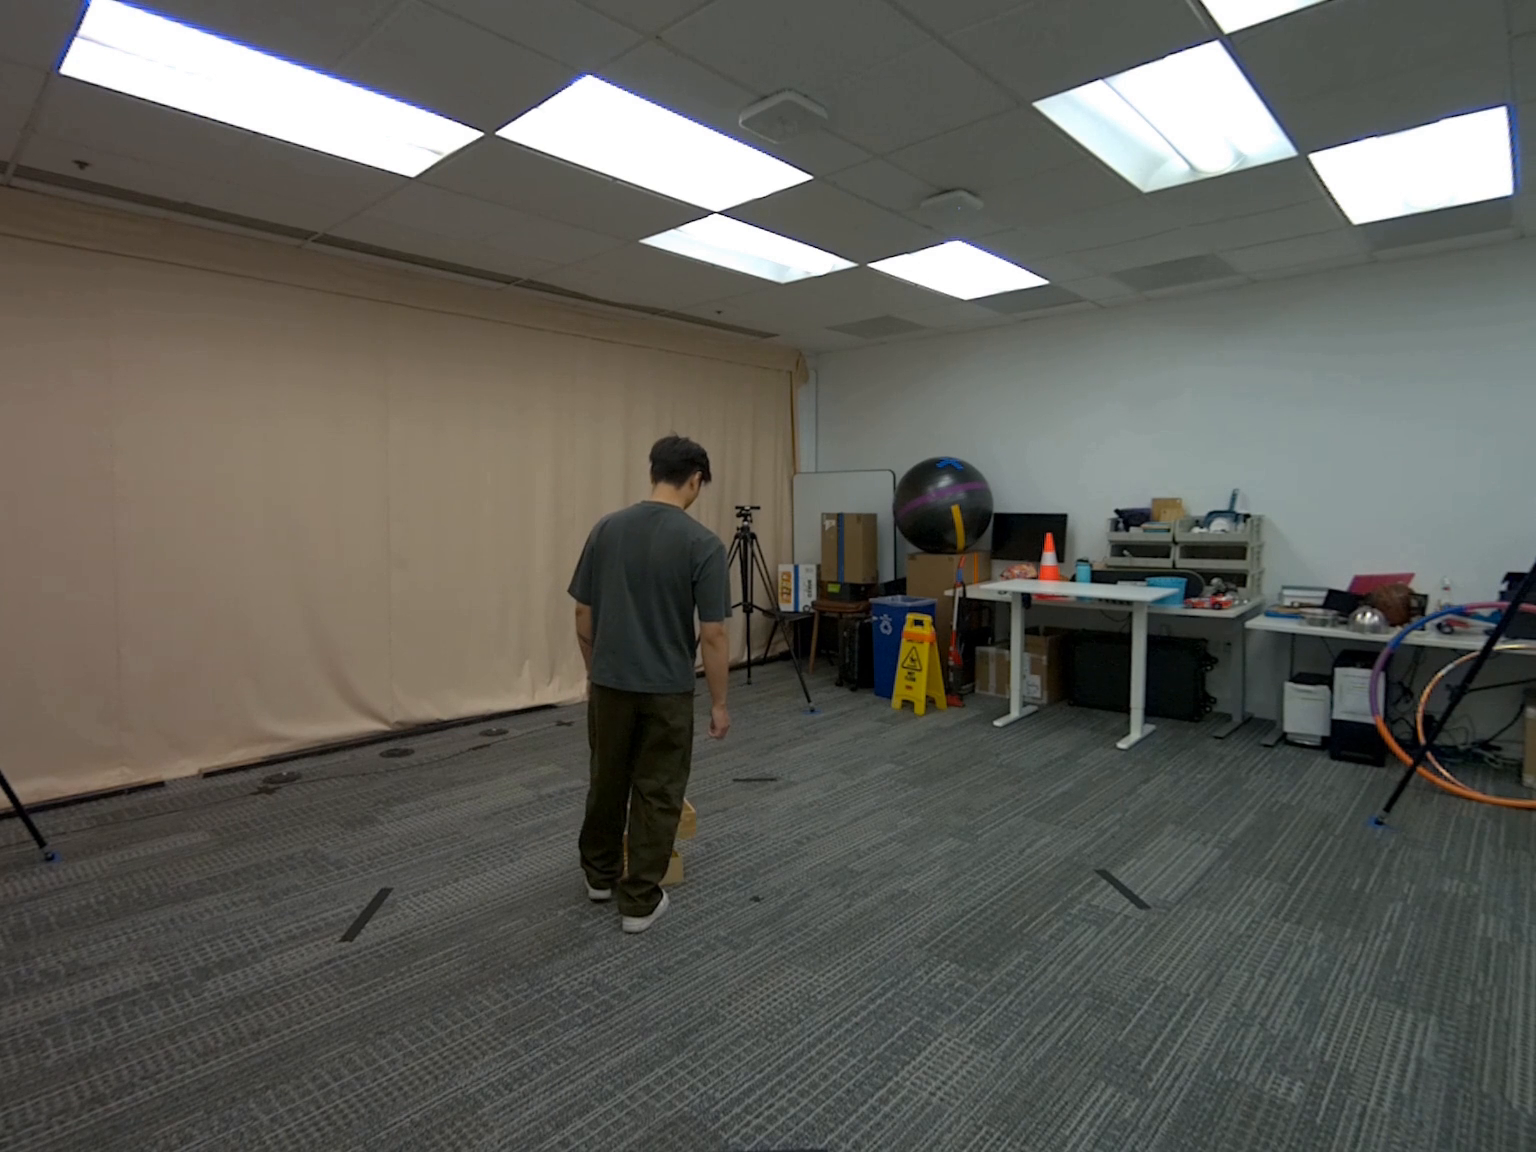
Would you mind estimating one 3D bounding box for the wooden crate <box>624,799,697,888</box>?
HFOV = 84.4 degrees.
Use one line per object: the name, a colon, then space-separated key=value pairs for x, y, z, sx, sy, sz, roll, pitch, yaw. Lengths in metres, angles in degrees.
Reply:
wooden crate: x=-0.469 y=0.994 z=3.228 sx=0.296 sy=0.273 sz=0.331 roll=-3 pitch=4 yaw=-19
